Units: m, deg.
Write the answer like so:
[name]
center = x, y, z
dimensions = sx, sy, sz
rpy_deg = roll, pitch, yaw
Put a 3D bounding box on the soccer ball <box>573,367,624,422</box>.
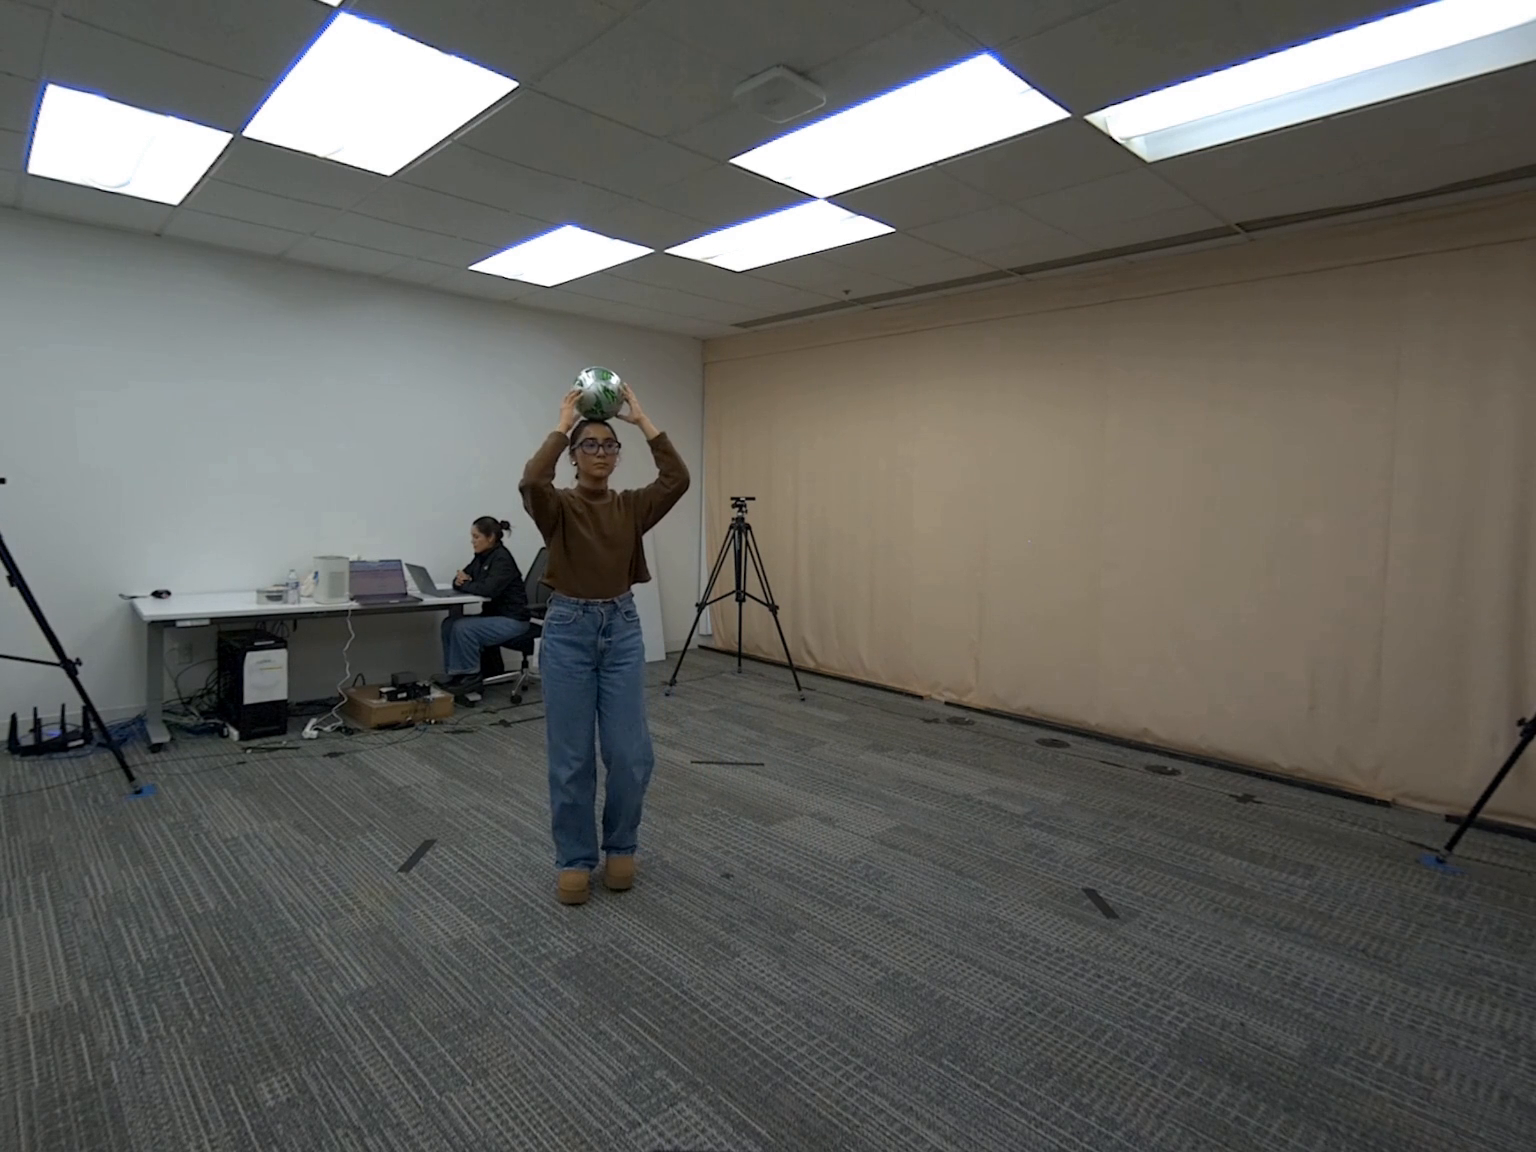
[soccer ball]
center = -0.601, -0.635, 2.944
dimensions = 0.187, 0.187, 0.188
rpy_deg = 1, 4, -1
